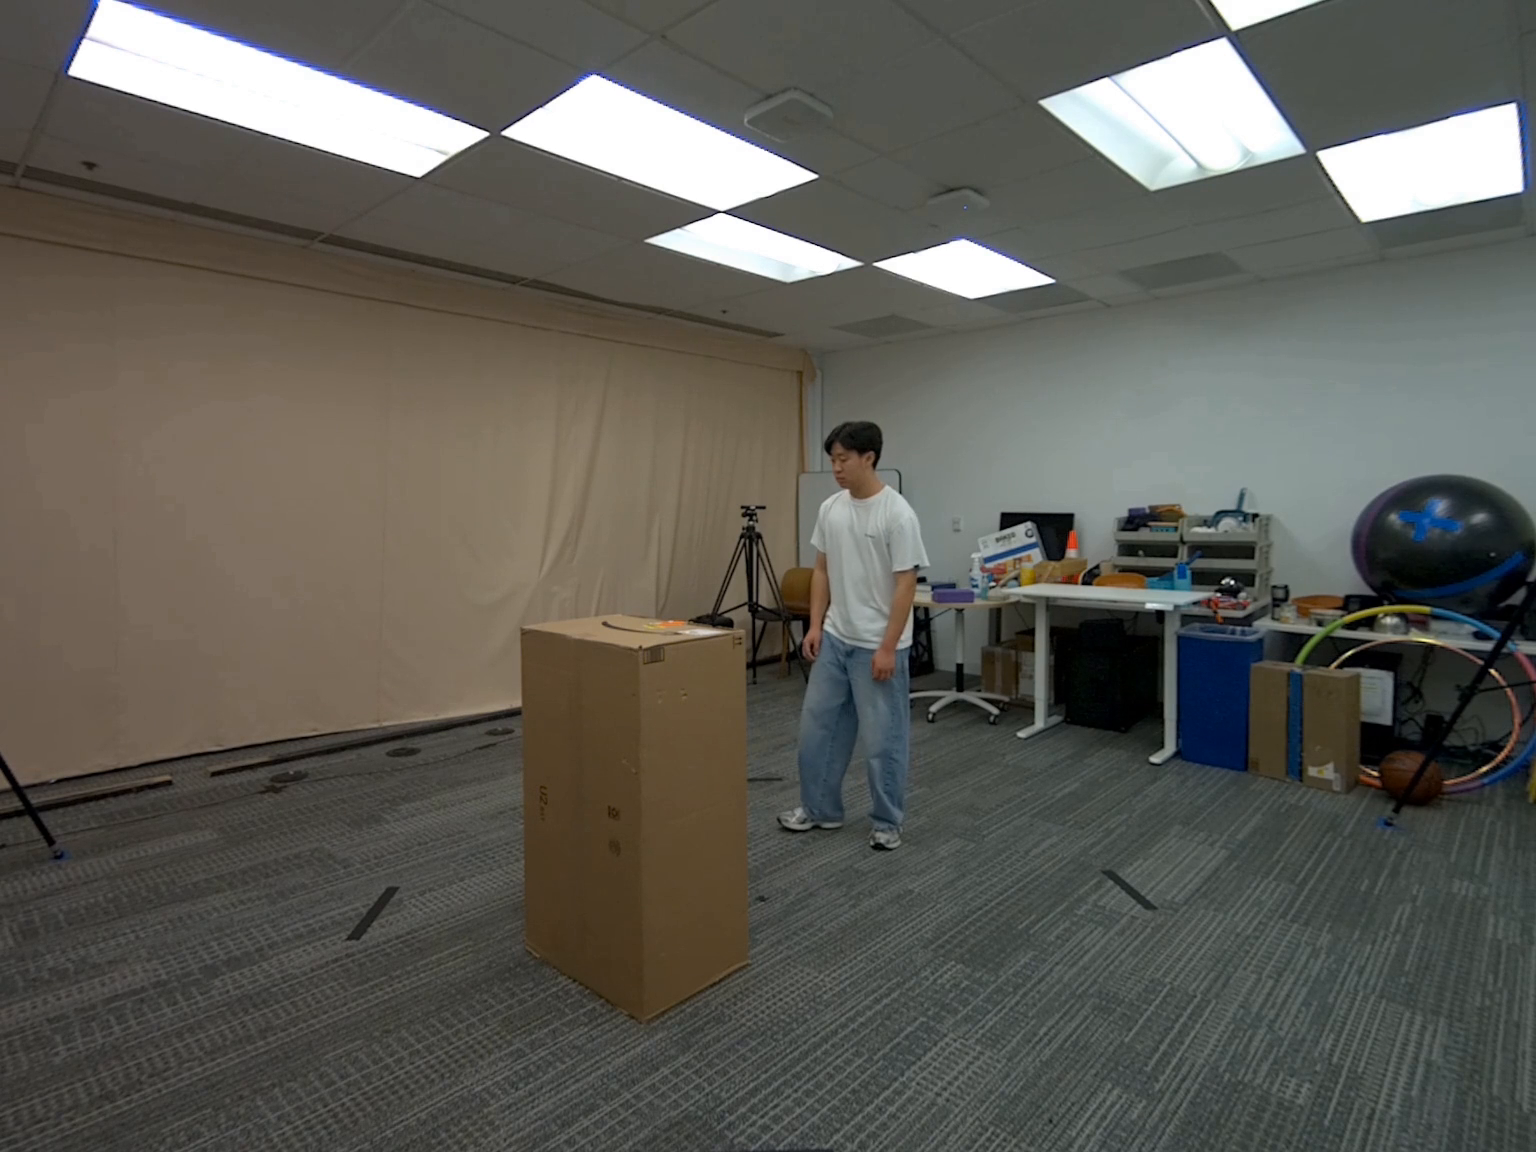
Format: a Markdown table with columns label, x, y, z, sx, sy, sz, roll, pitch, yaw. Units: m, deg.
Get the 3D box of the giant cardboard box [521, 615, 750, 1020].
| label | x | y | z | sx | sy | sz | roll | pitch | yaw |
| --- | --- | --- | --- | --- | --- | --- | --- | --- | --- |
| giant cardboard box | -0.412 | 0.672 | 2.585 | 0.597 | 1.024 | 0.413 | 3 | 4 | 42 |
